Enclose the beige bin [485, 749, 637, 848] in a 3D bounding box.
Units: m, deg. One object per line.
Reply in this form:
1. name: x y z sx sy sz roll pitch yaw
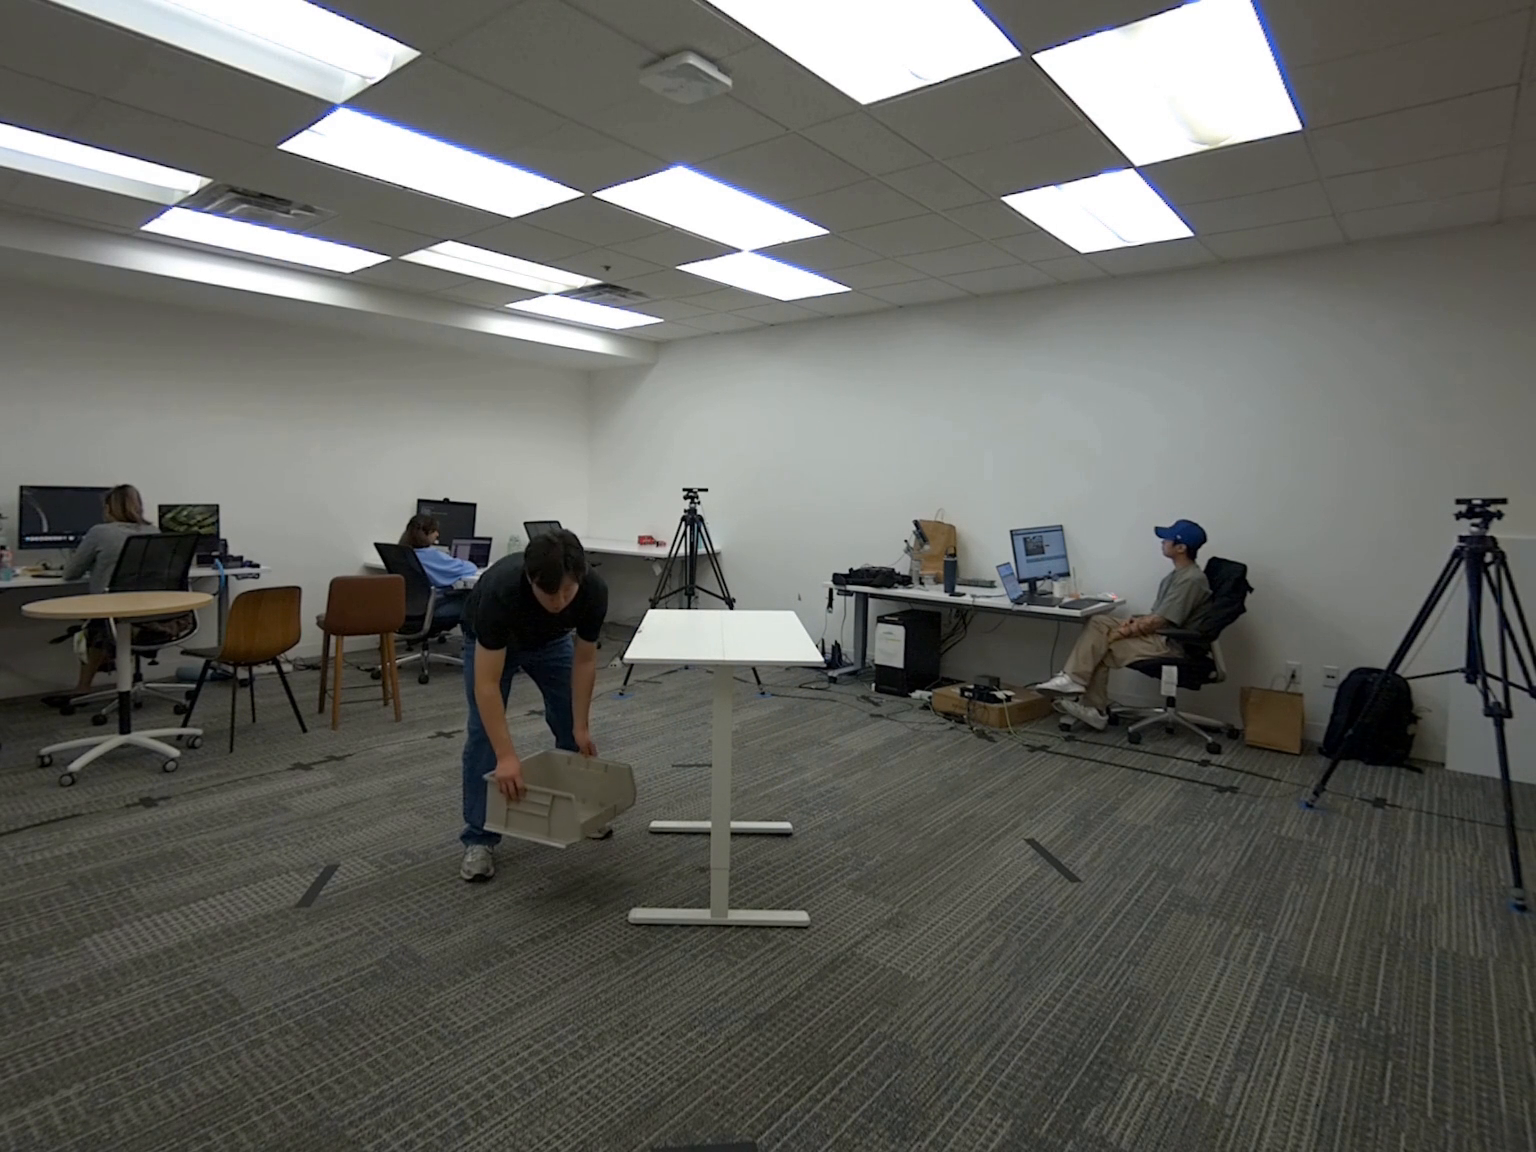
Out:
1. beige bin: -0.721 0.763 2.959 0.385 0.188 0.415 4 3 18
